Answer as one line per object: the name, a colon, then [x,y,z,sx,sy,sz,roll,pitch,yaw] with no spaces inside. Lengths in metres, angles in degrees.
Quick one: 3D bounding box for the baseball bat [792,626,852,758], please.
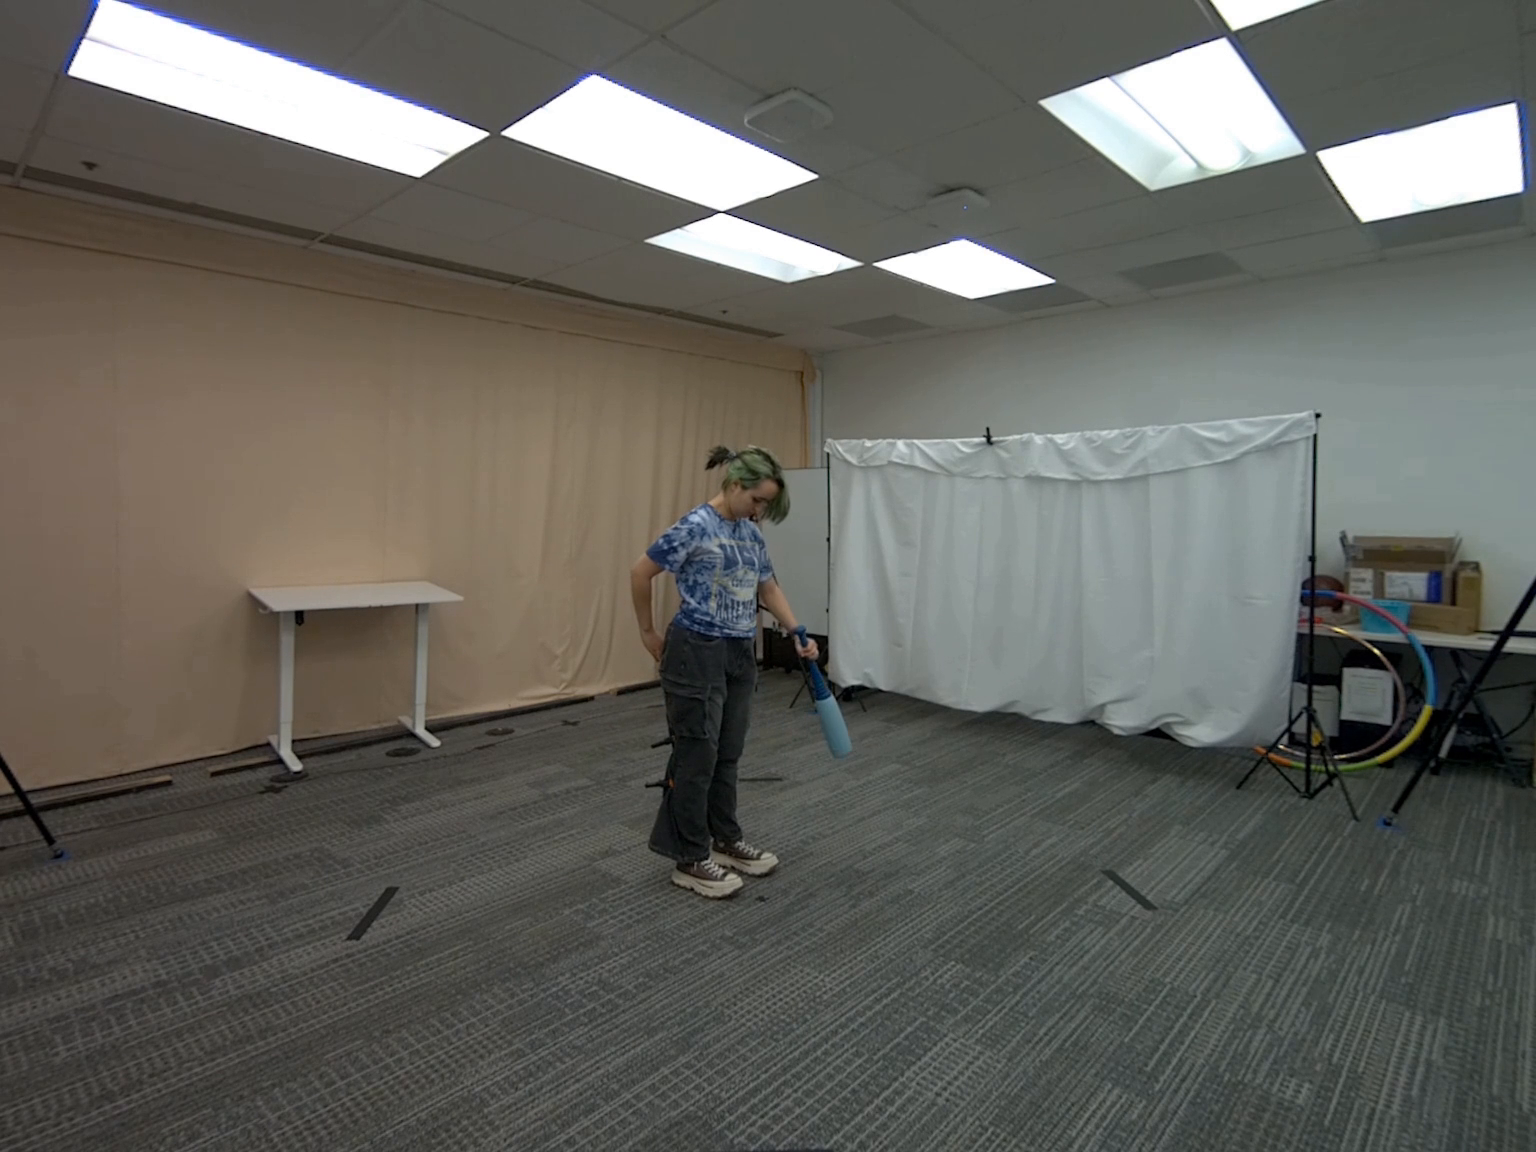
baseball bat: [0.191,0.444,3.203,0.089,0.535,0.090,-19,14,4]
